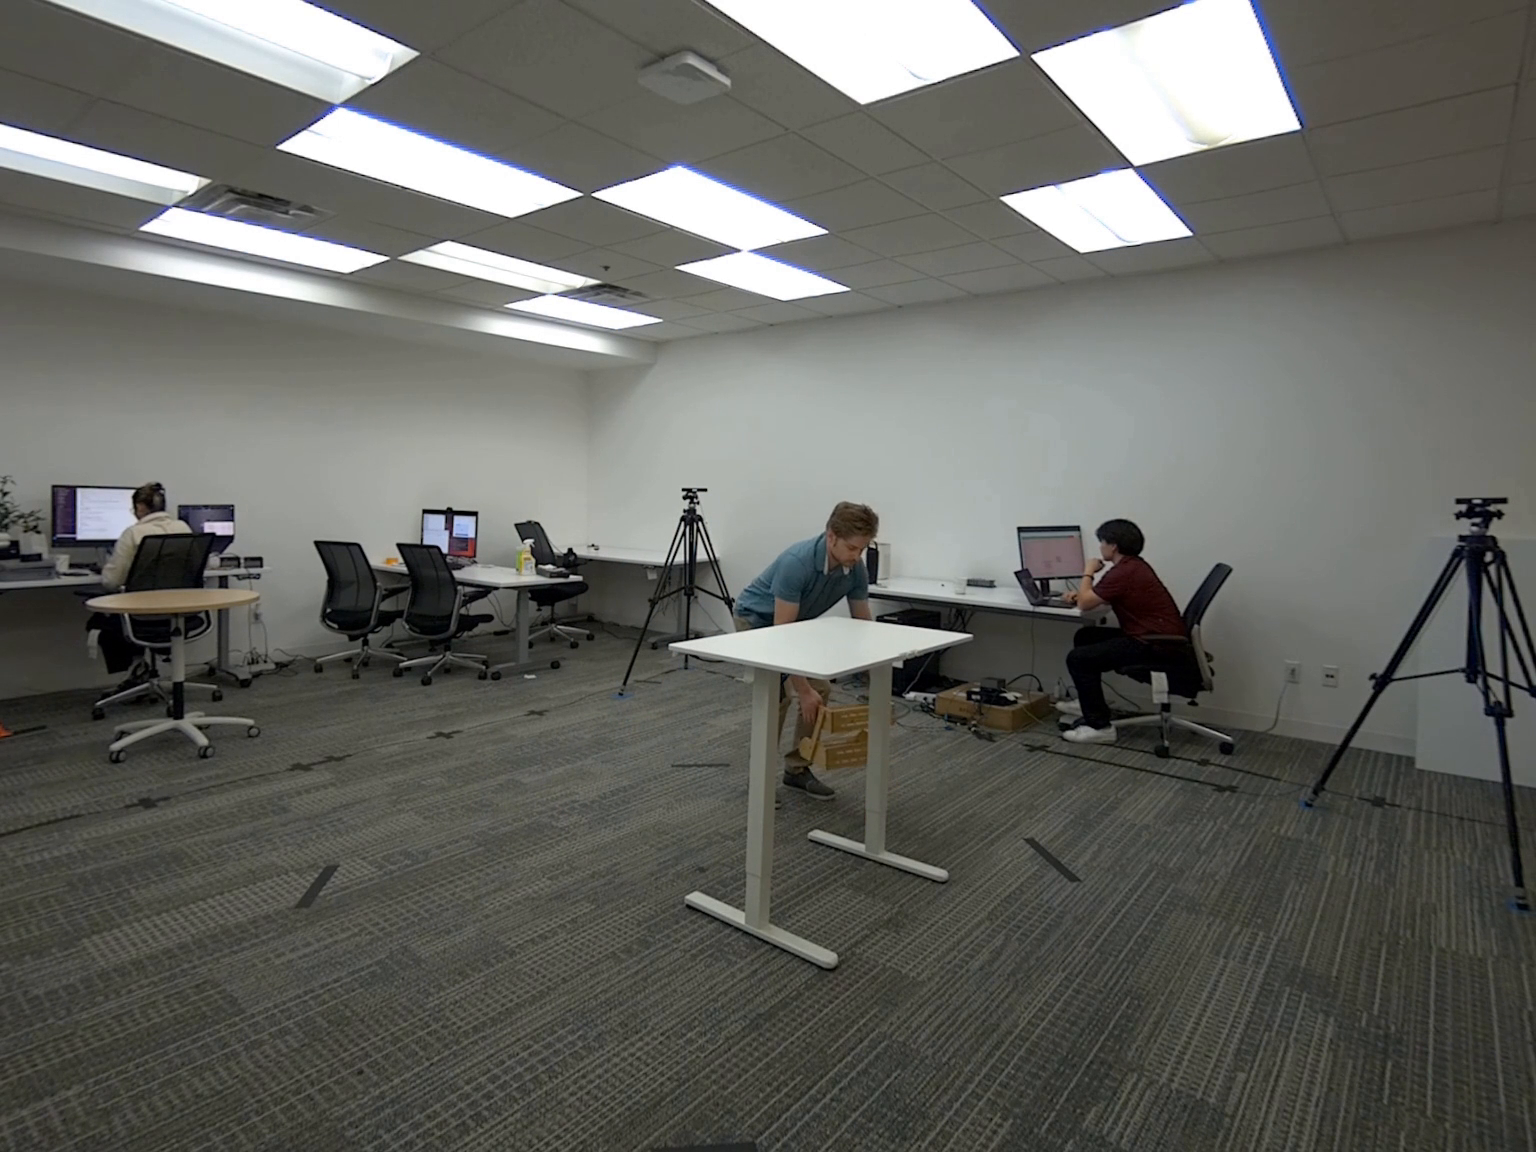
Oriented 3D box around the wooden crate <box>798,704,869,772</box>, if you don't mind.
[{"bbox_3d":[0.324,0.654,3.659,0.317,0.272,0.310,-3,4,-24],"label":"wooden crate"}]
